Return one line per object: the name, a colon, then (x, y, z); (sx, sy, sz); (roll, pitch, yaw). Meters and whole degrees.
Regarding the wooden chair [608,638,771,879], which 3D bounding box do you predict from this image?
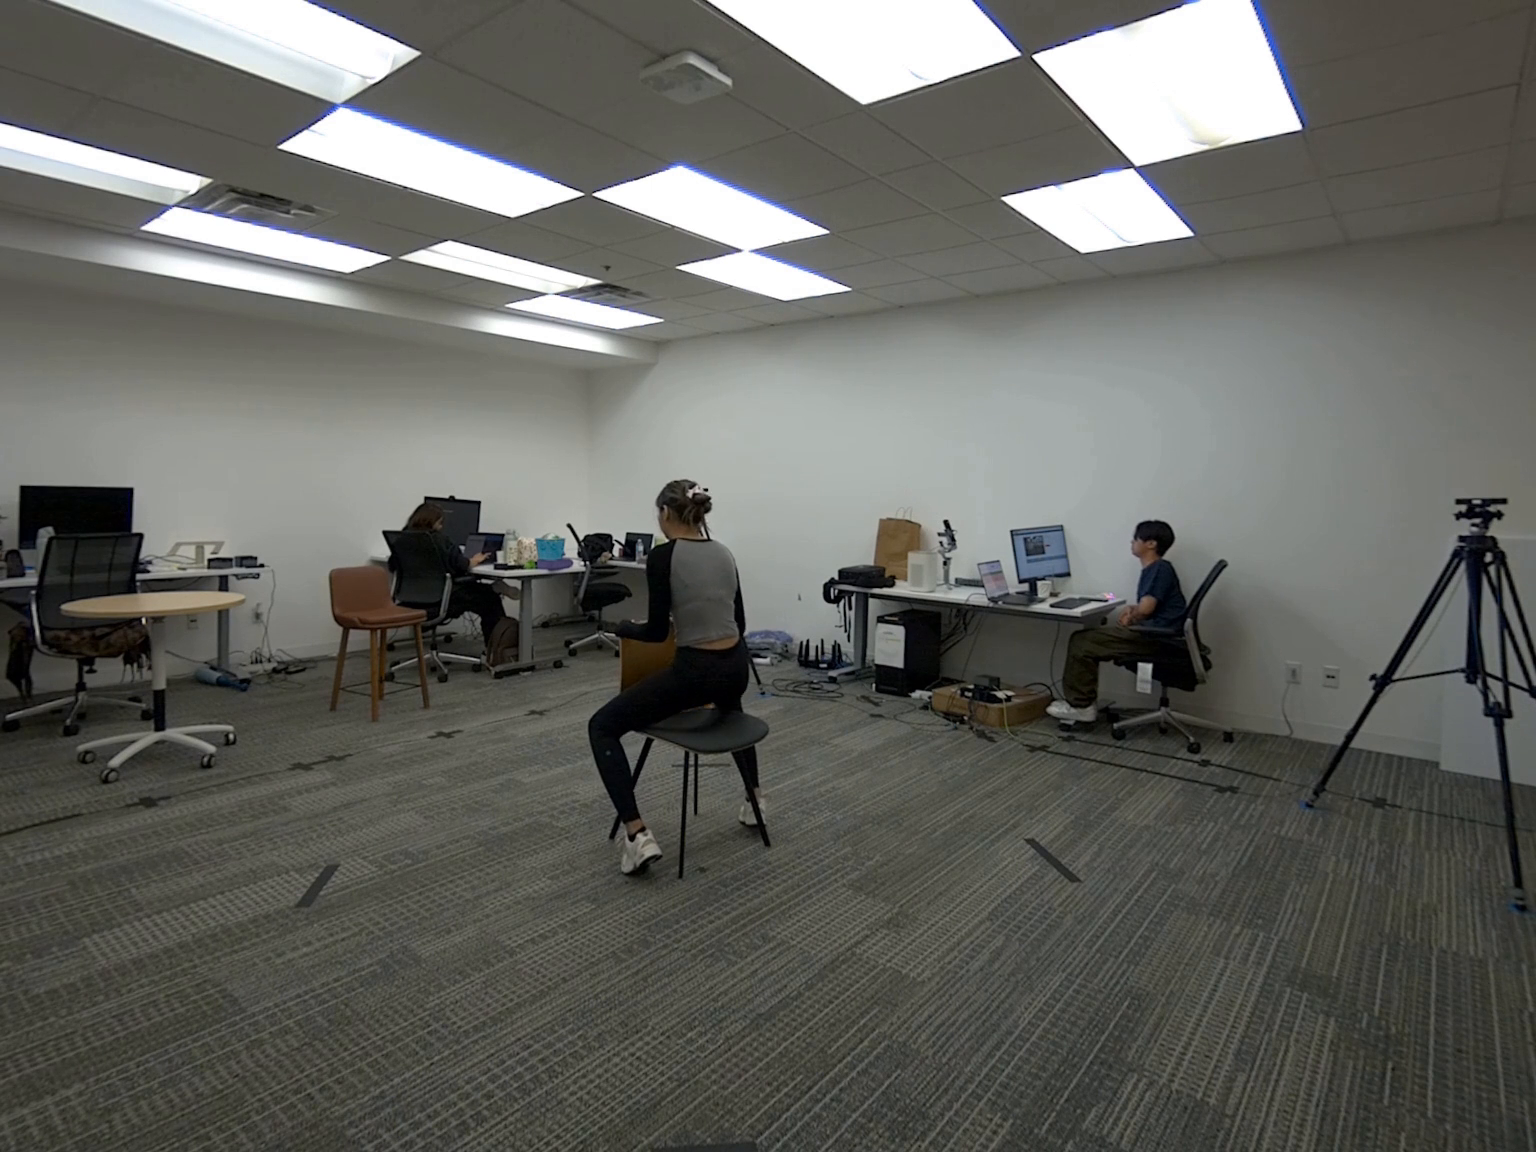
wooden chair: (-0.302, 0.622, 3.308); (0.463, 0.878, 0.539); (-2, -1, -43)
